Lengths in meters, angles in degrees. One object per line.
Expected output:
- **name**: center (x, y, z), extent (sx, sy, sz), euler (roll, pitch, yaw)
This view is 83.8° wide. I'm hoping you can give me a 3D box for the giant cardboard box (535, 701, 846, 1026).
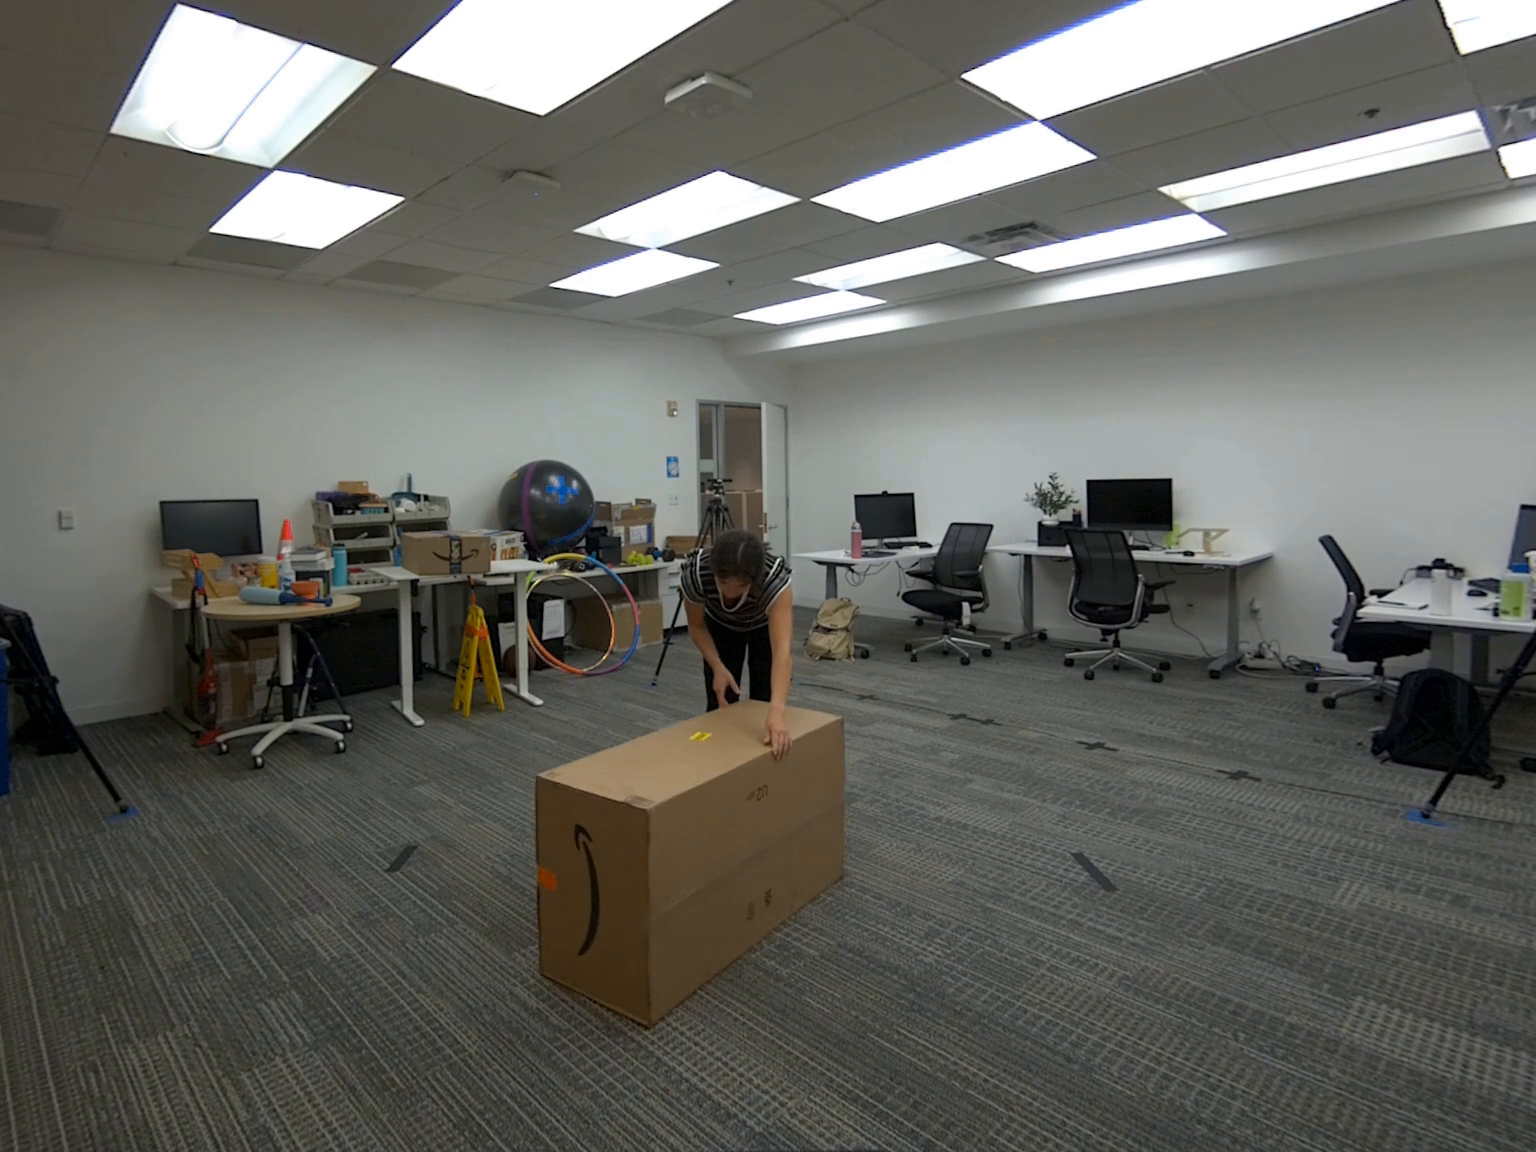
- **giant cardboard box**: center (-0.199, 0.805, 2.695), extent (0.438, 0.575, 1.001), euler (2, 6, 35)
